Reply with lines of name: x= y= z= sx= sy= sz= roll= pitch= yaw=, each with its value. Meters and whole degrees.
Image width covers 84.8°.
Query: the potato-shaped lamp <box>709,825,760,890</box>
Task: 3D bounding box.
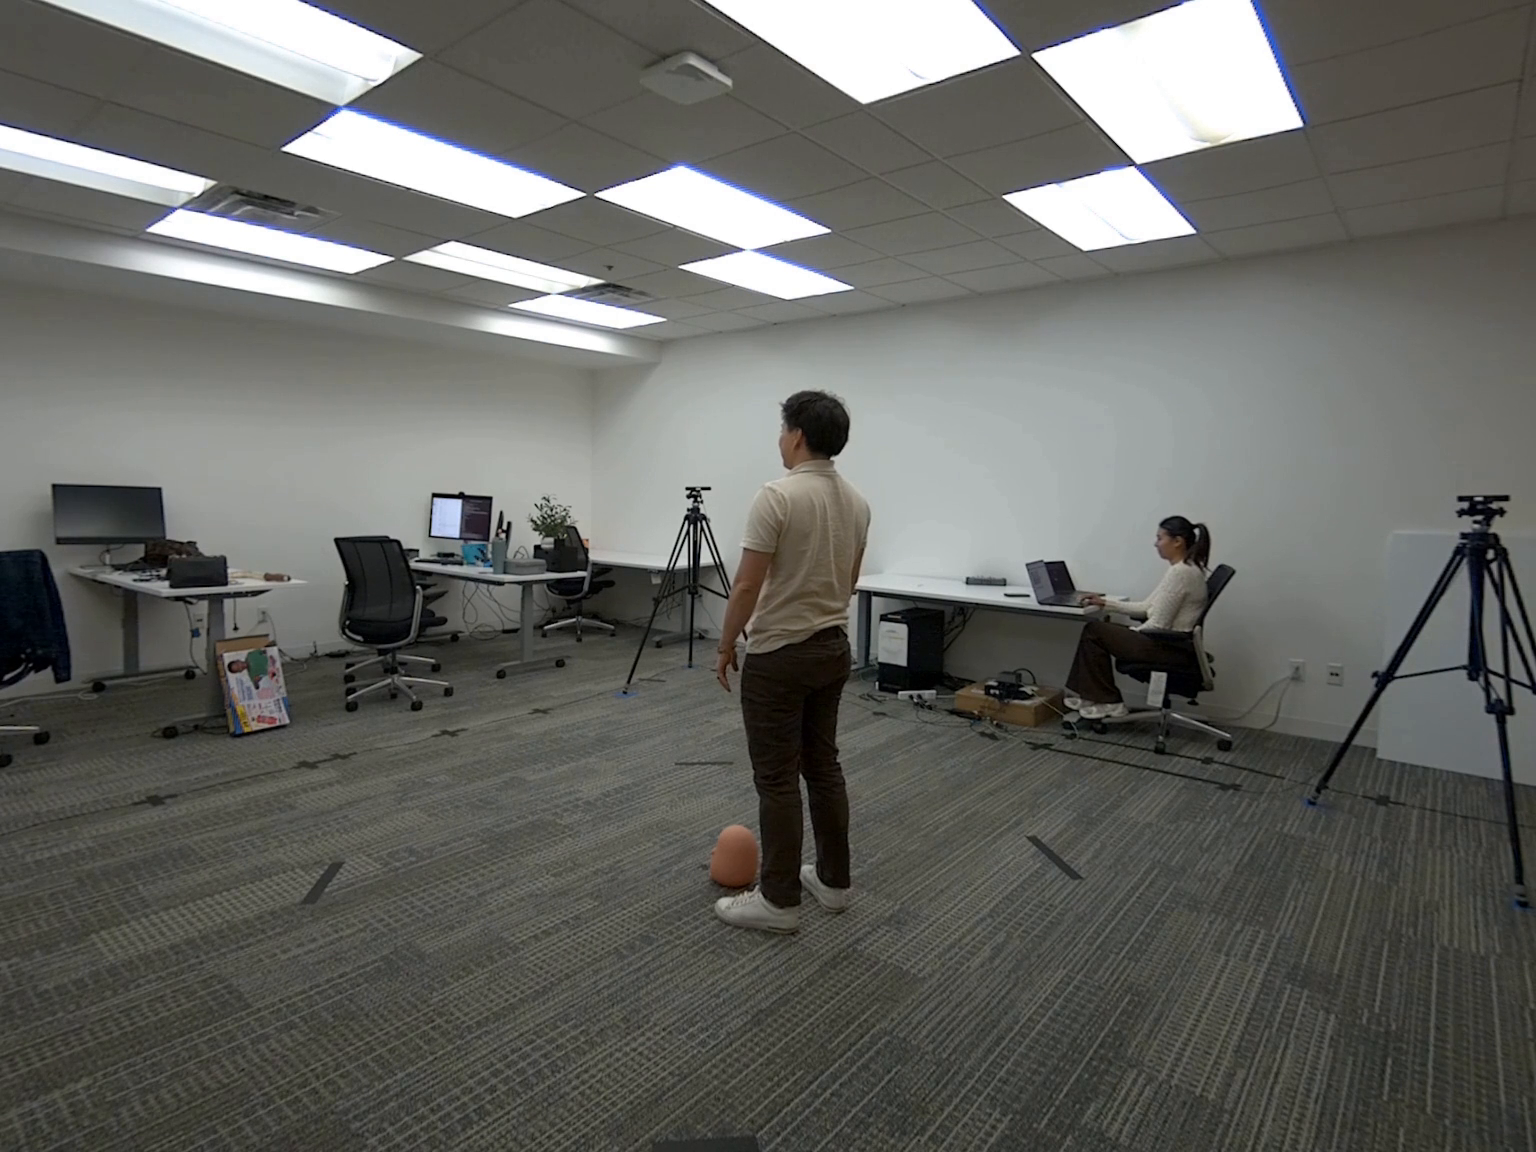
potato-shaped lamp: x=-0.126 y=0.978 z=3.004 sx=0.177 sy=0.197 sz=0.160 roll=4 pitch=6 yaw=44
